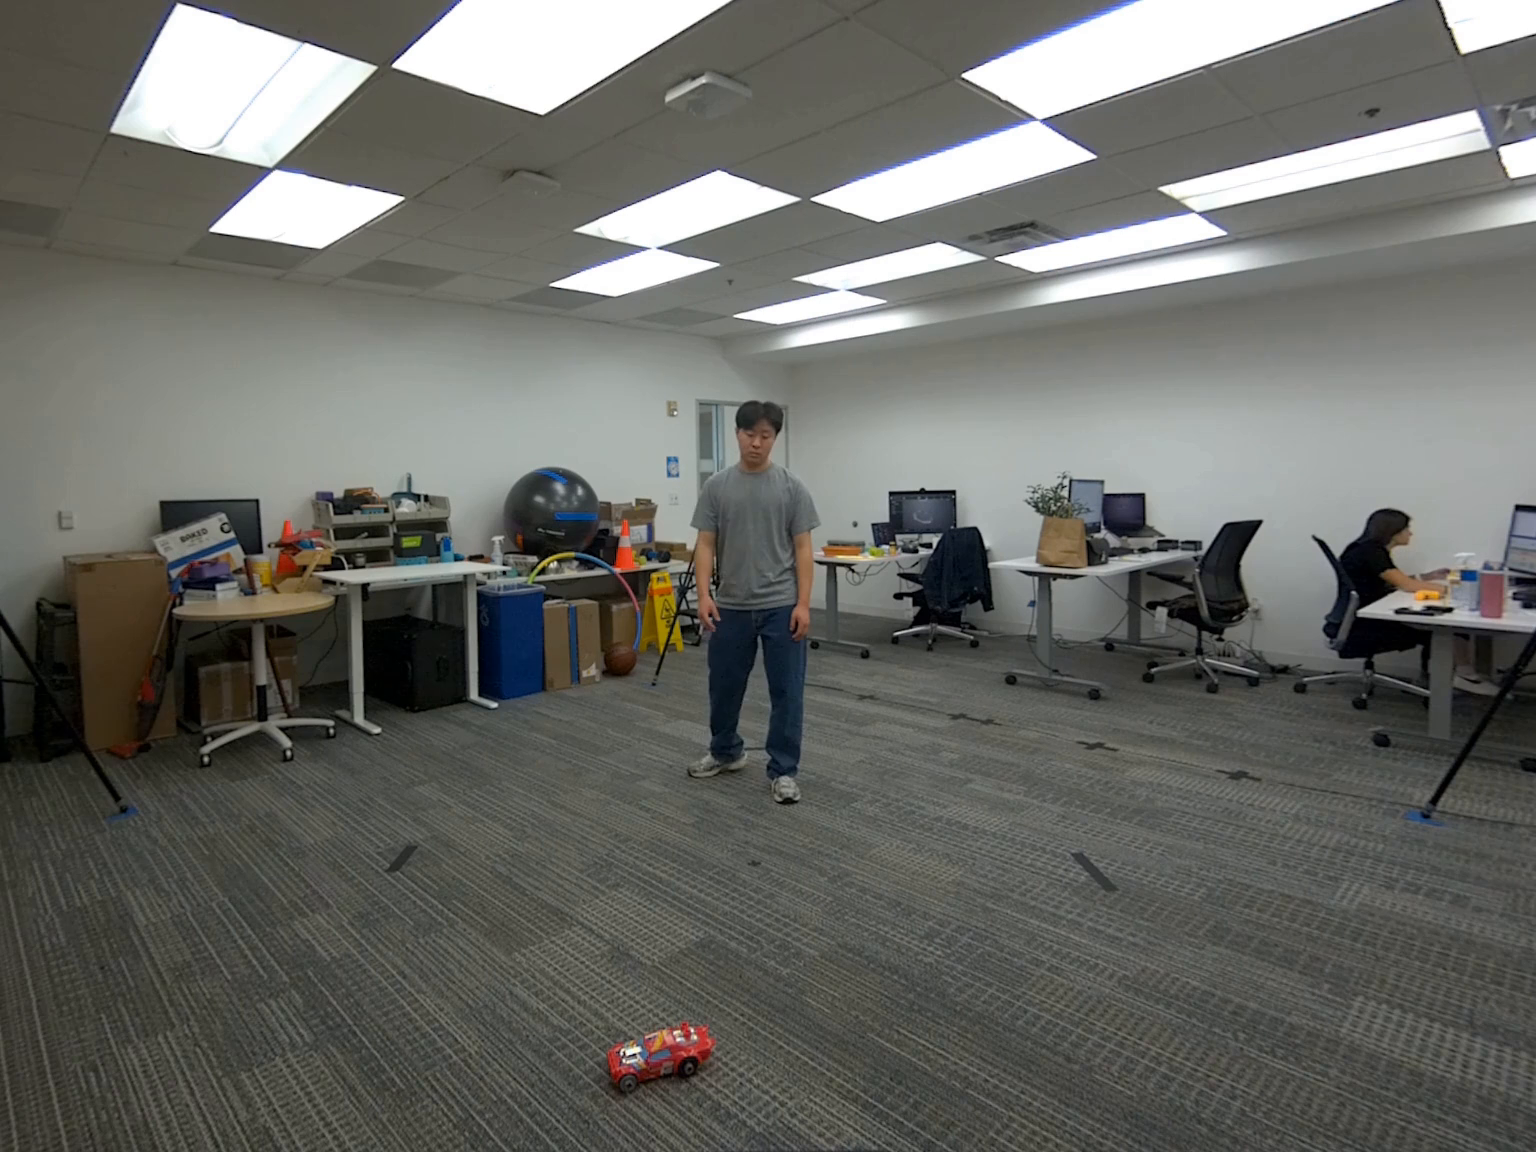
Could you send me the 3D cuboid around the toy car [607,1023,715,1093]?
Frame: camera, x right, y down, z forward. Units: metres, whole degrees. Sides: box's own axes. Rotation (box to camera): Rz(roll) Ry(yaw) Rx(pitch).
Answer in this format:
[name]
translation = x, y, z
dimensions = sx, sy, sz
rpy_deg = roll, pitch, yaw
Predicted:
[toy car]
translation = -0.250, 1.149, 2.036
dimensions = 0.251, 0.082, 0.133
rpy_deg = -16, 11, -18
